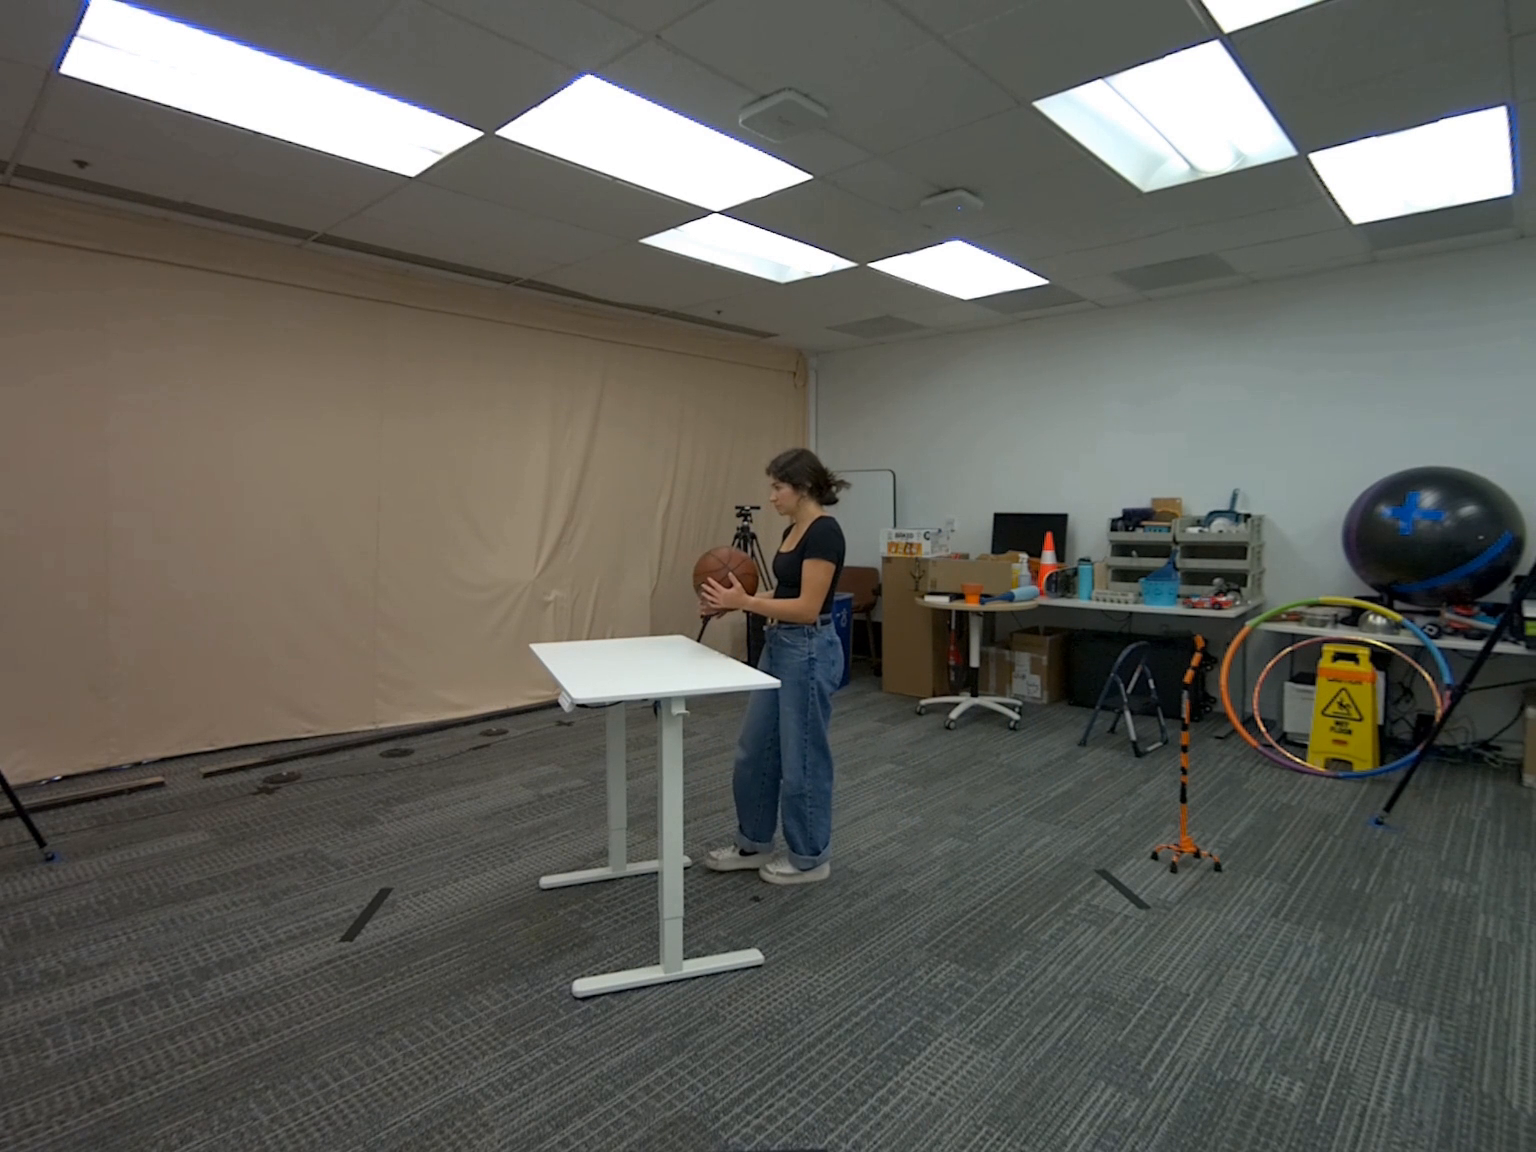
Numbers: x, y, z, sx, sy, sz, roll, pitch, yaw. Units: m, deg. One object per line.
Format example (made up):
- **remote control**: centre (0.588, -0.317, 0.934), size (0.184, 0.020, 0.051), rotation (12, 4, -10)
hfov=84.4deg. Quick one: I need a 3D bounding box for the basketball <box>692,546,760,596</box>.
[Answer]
- **basketball**: centre (-0.147, 0.010, 3.040), size (0.236, 0.235, 0.237), rotation (0, 4, -2)
